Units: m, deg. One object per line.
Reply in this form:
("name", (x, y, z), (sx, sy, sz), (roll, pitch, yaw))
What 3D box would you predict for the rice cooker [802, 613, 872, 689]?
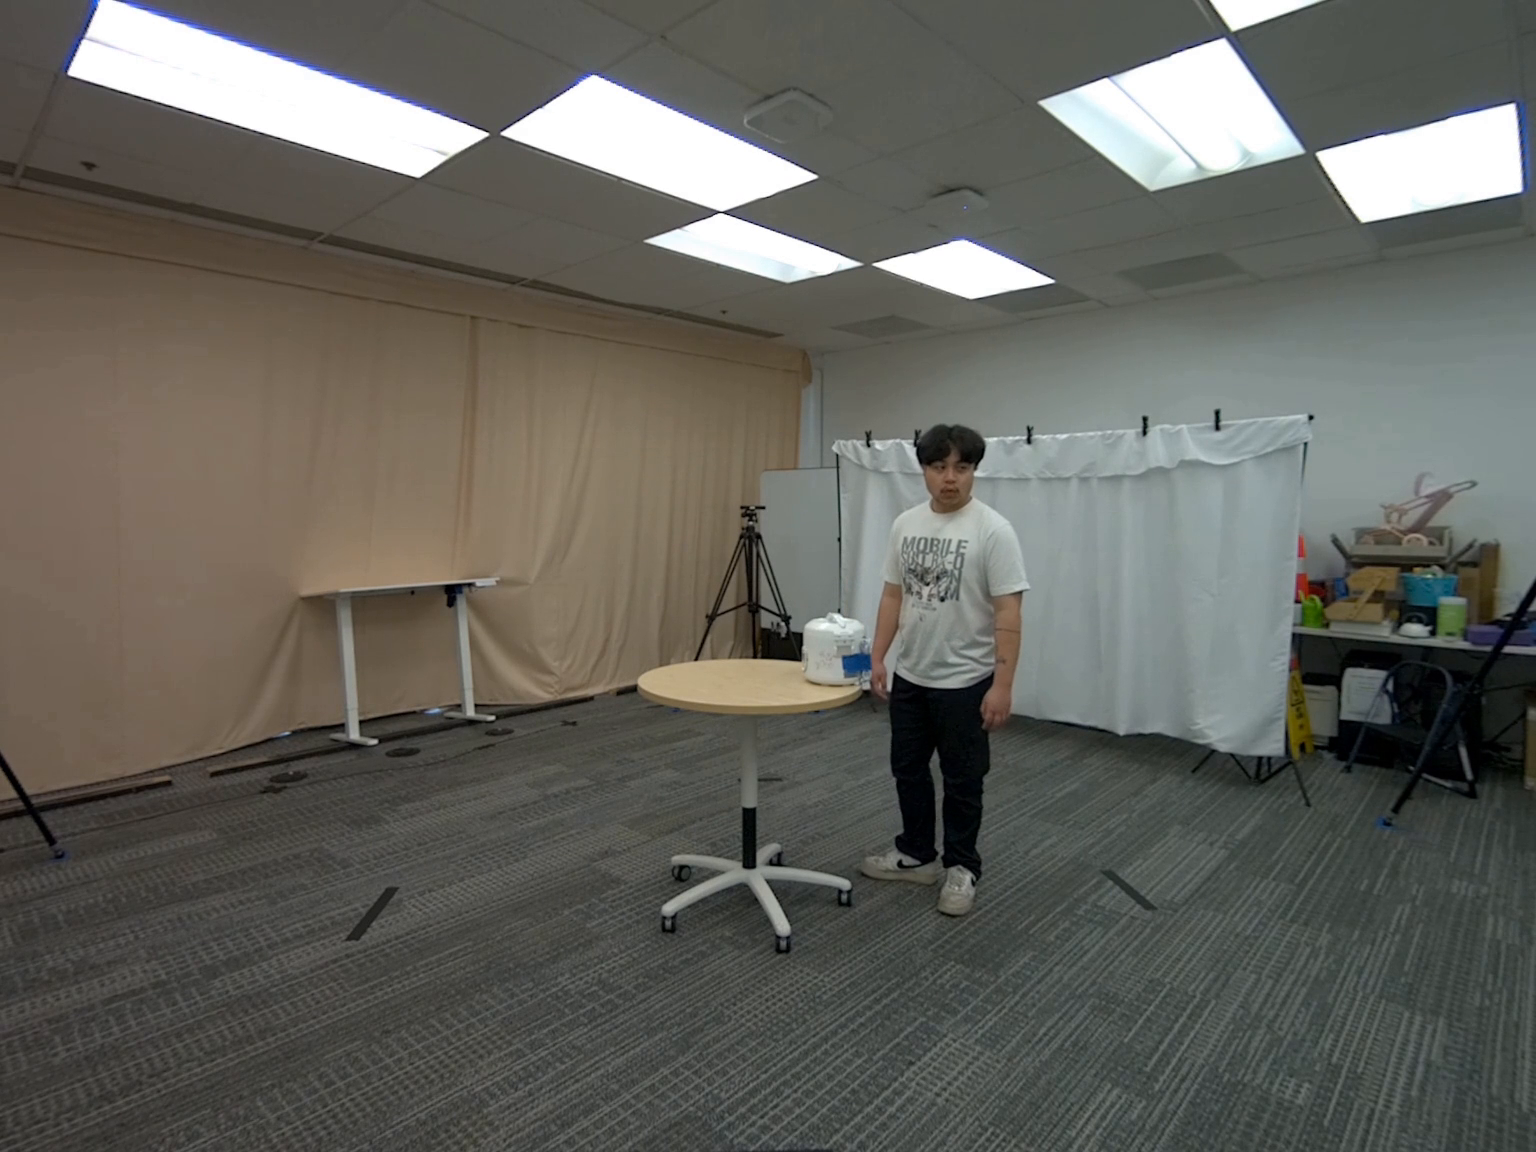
("rice cooker", (0.231, 0.247, 2.857), (0.215, 0.232, 0.223), (1, 2, -9))
